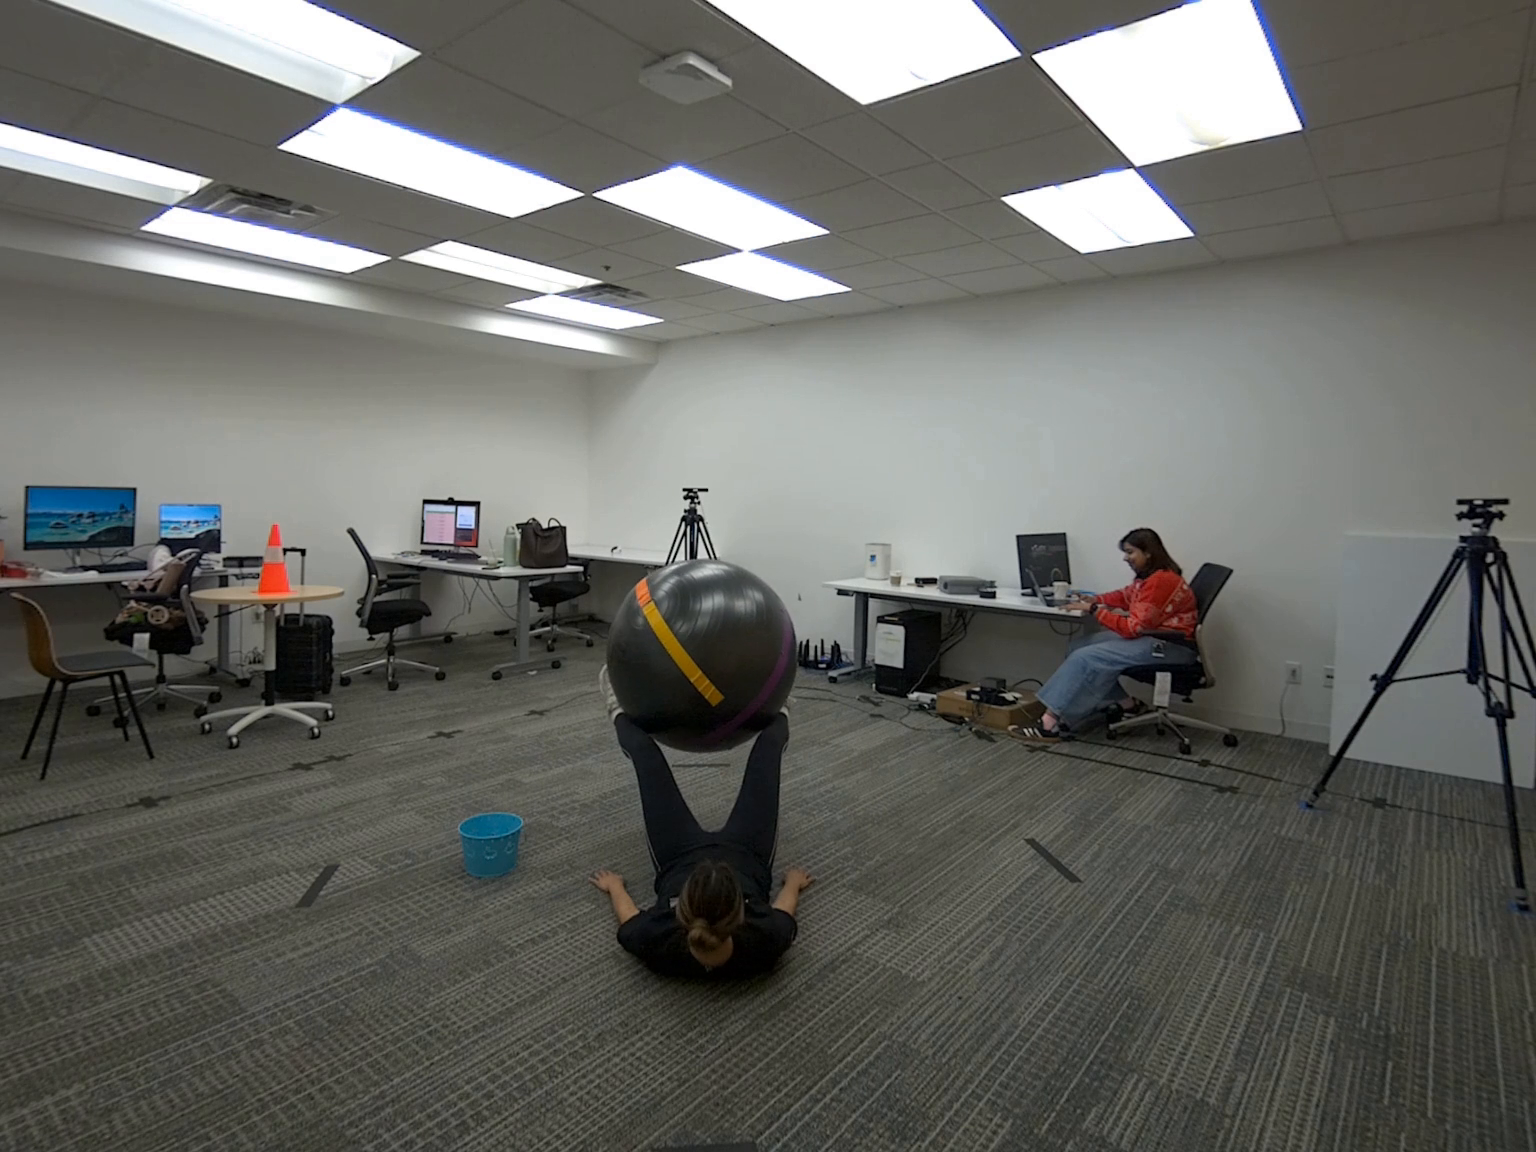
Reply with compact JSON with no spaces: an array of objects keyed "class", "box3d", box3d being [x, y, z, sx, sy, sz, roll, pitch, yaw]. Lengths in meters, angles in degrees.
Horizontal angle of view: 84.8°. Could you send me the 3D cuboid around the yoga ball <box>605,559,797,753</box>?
[{"class":"yoga ball","box3d":[-0.267,0.314,3.369,0.757,0.756,0.762,1,4,-2]}]
